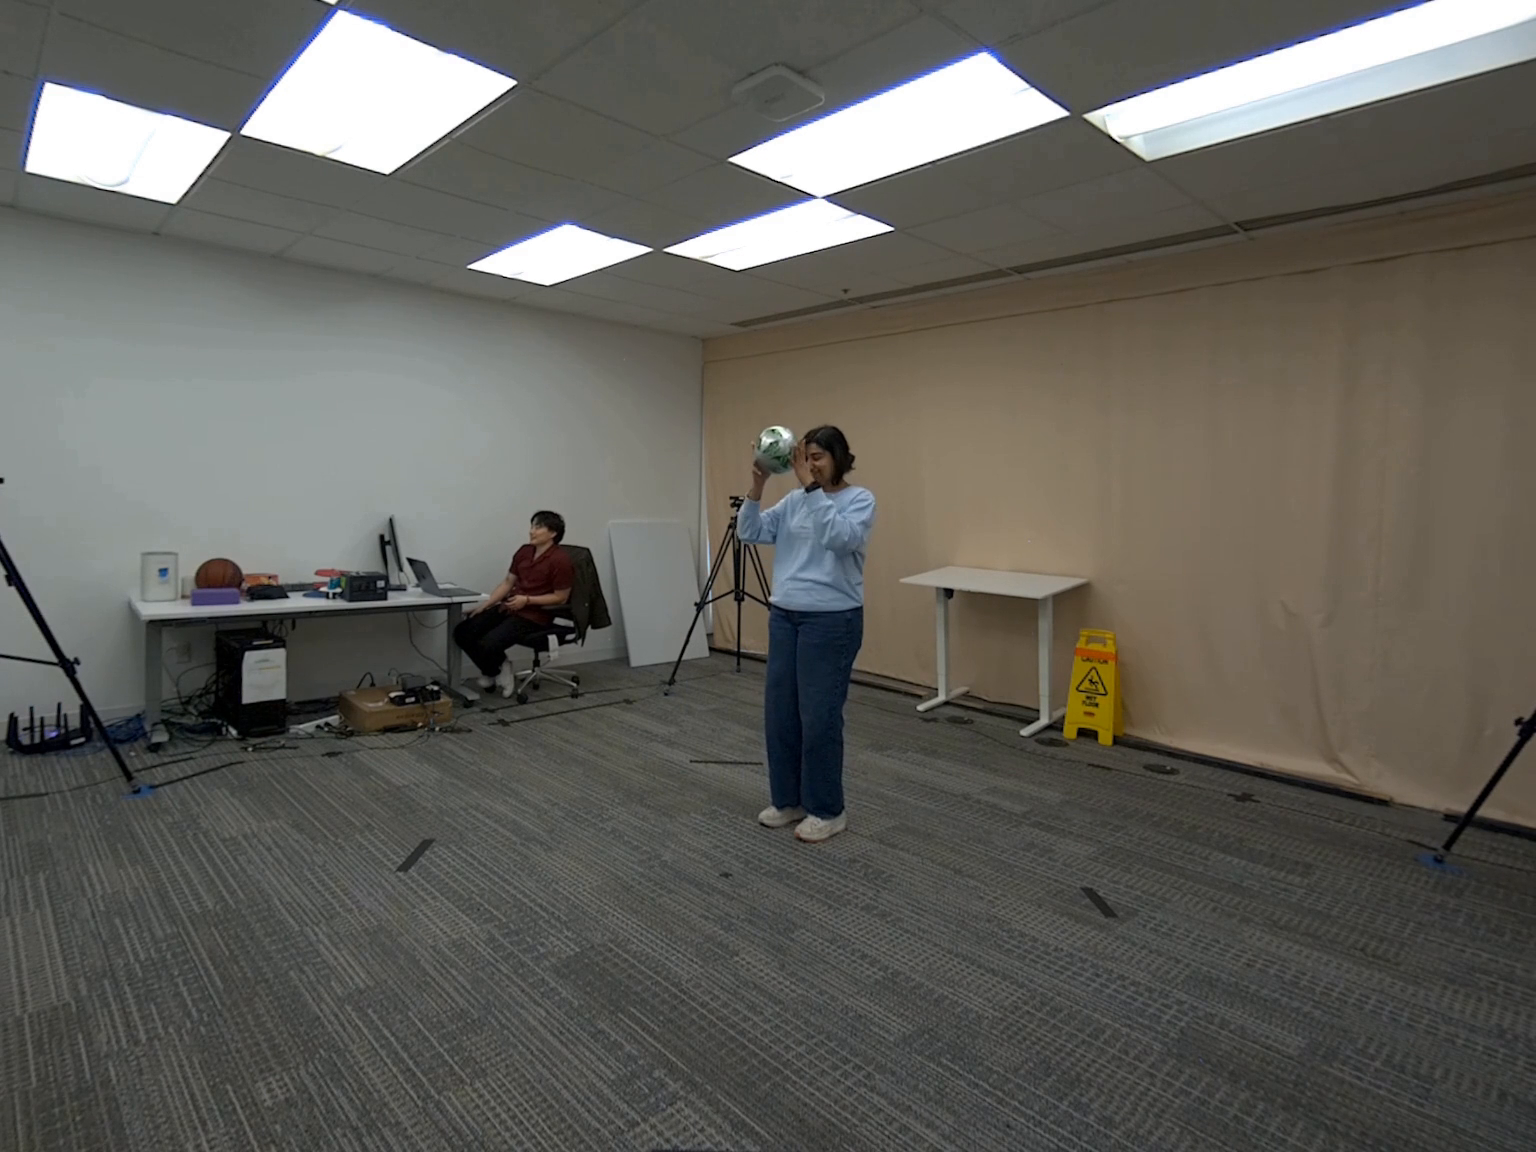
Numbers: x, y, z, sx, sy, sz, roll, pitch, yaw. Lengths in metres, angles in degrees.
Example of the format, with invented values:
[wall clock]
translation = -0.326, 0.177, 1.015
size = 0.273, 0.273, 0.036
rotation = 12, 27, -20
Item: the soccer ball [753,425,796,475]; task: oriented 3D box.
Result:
[soccer ball]
translation = 0.028, -0.497, 3.309
size = 0.187, 0.187, 0.188
rotation = 1, 4, -1
